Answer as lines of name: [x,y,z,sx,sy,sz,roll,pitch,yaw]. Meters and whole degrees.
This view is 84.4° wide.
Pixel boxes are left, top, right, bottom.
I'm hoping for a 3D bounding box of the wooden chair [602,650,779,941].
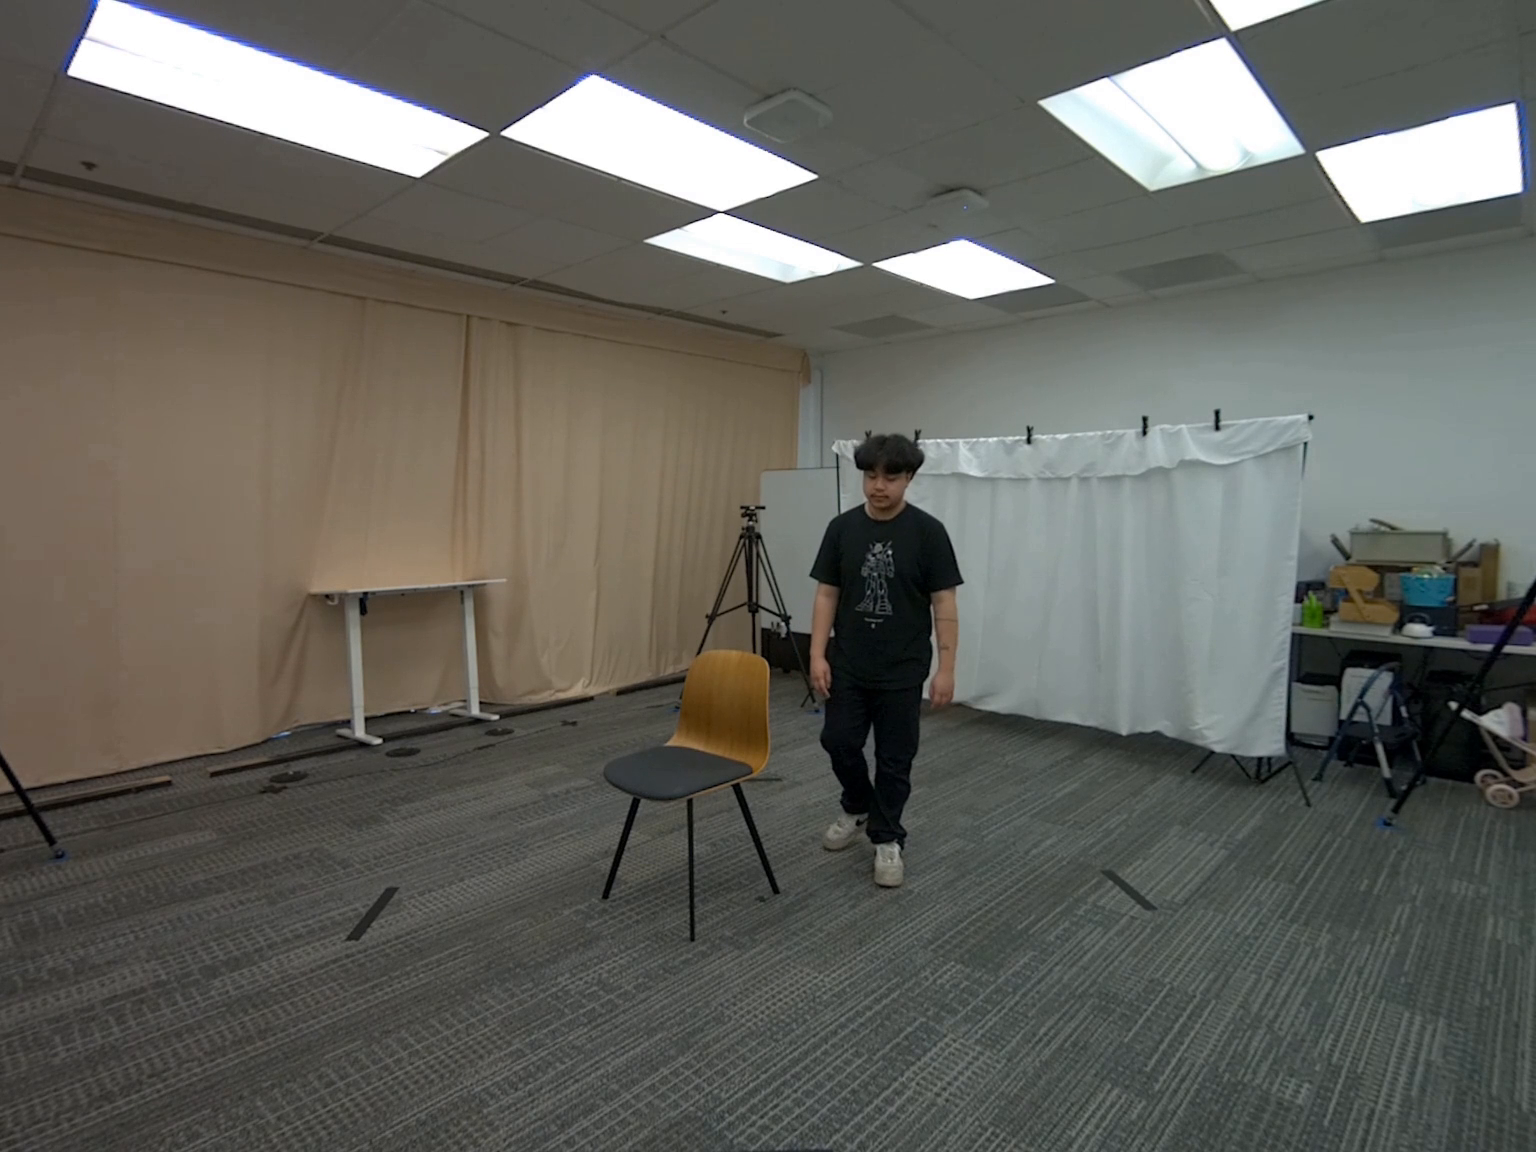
wooden chair: [-0.273,0.718,2.969,0.494,0.877,0.506,3,0,40]
